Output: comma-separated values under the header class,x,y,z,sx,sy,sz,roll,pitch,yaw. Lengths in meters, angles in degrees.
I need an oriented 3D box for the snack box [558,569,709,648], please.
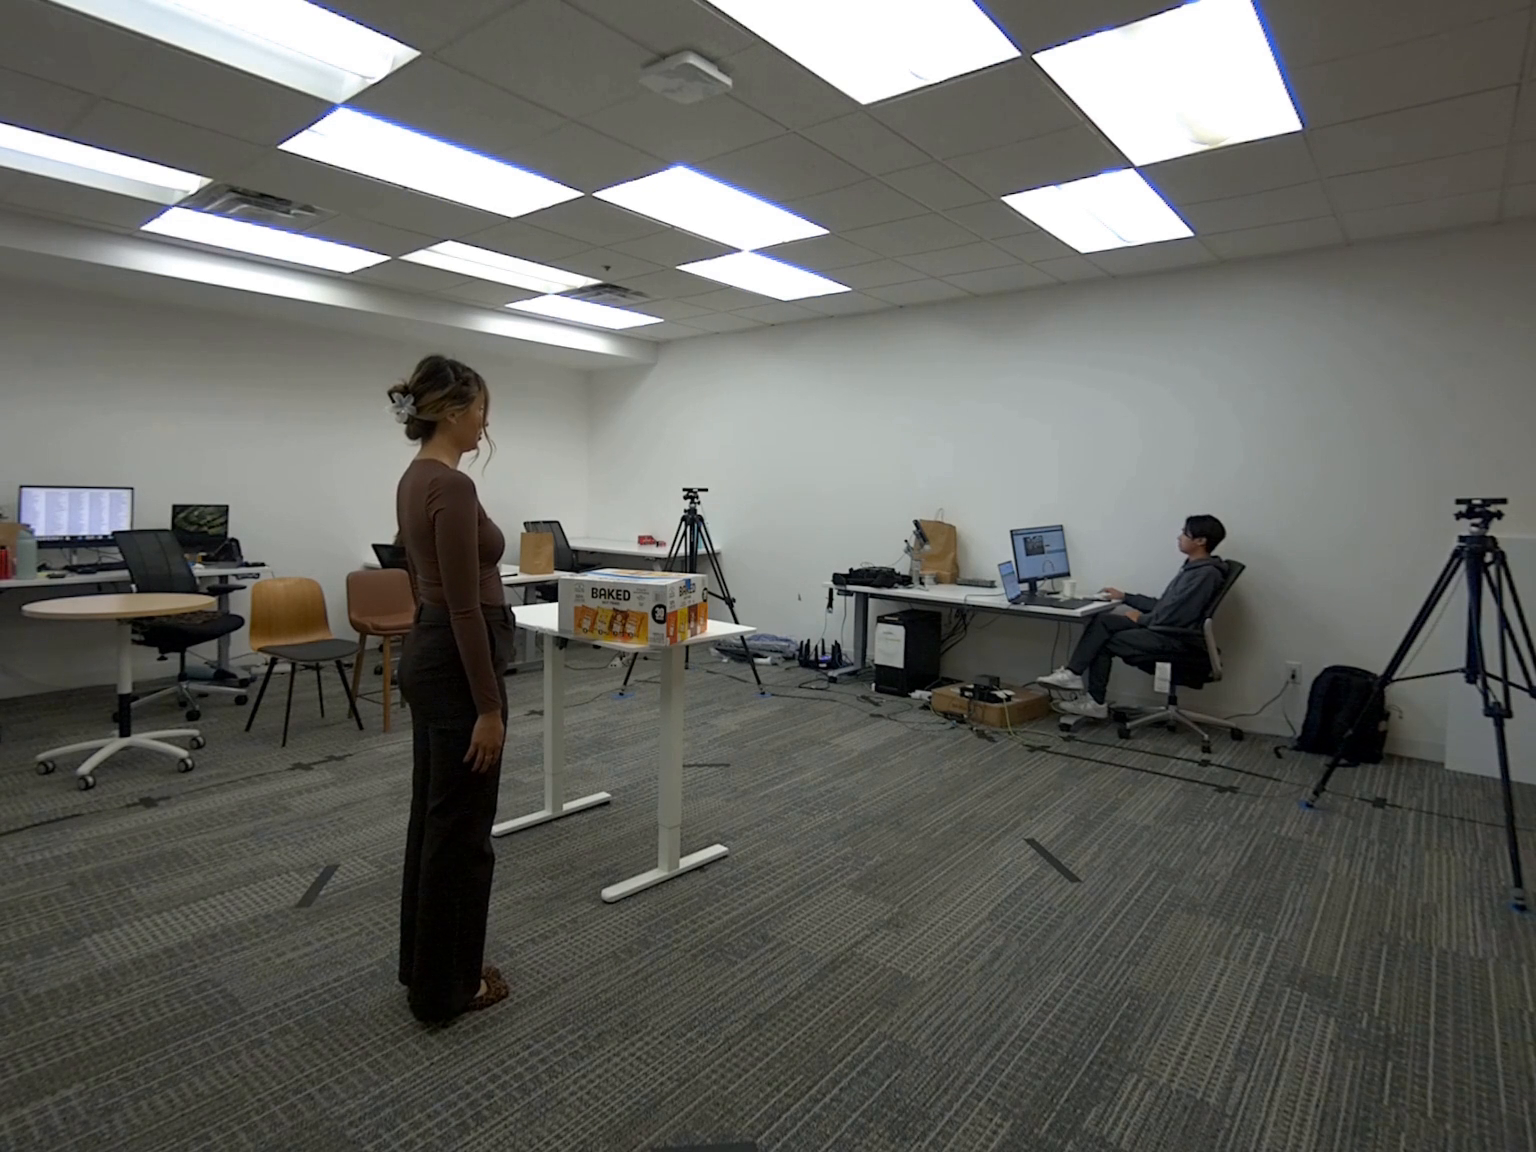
class,x,y,z,sx,sy,sz,roll,pitch,yaw
snack box,-0.472,0.099,2.944,0.414,0.205,0.334,3,5,21
